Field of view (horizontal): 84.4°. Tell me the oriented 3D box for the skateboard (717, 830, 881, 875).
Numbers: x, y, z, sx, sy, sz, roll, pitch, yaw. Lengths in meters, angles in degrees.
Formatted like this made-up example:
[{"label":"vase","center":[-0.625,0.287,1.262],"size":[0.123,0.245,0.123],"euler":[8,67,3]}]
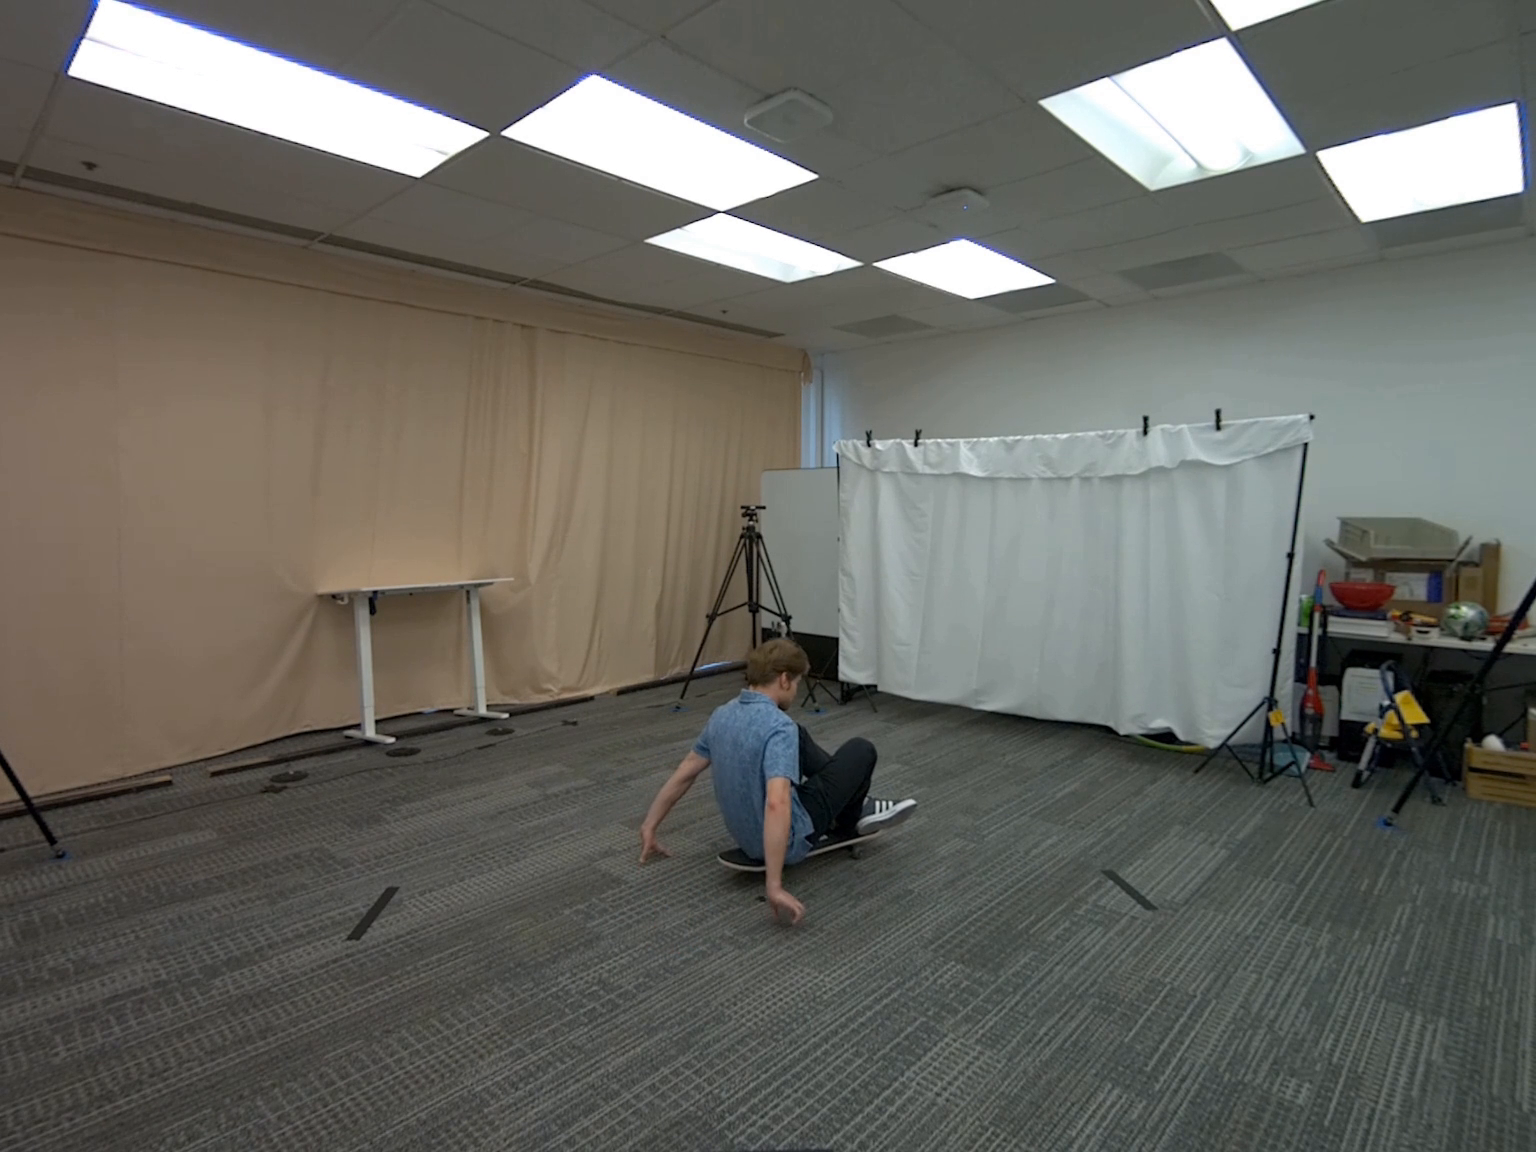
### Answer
[{"label":"skateboard","center":[0.145,1.074,3.289],"size":[0.763,0.110,0.199],"euler":[-5,4,-36]}]
